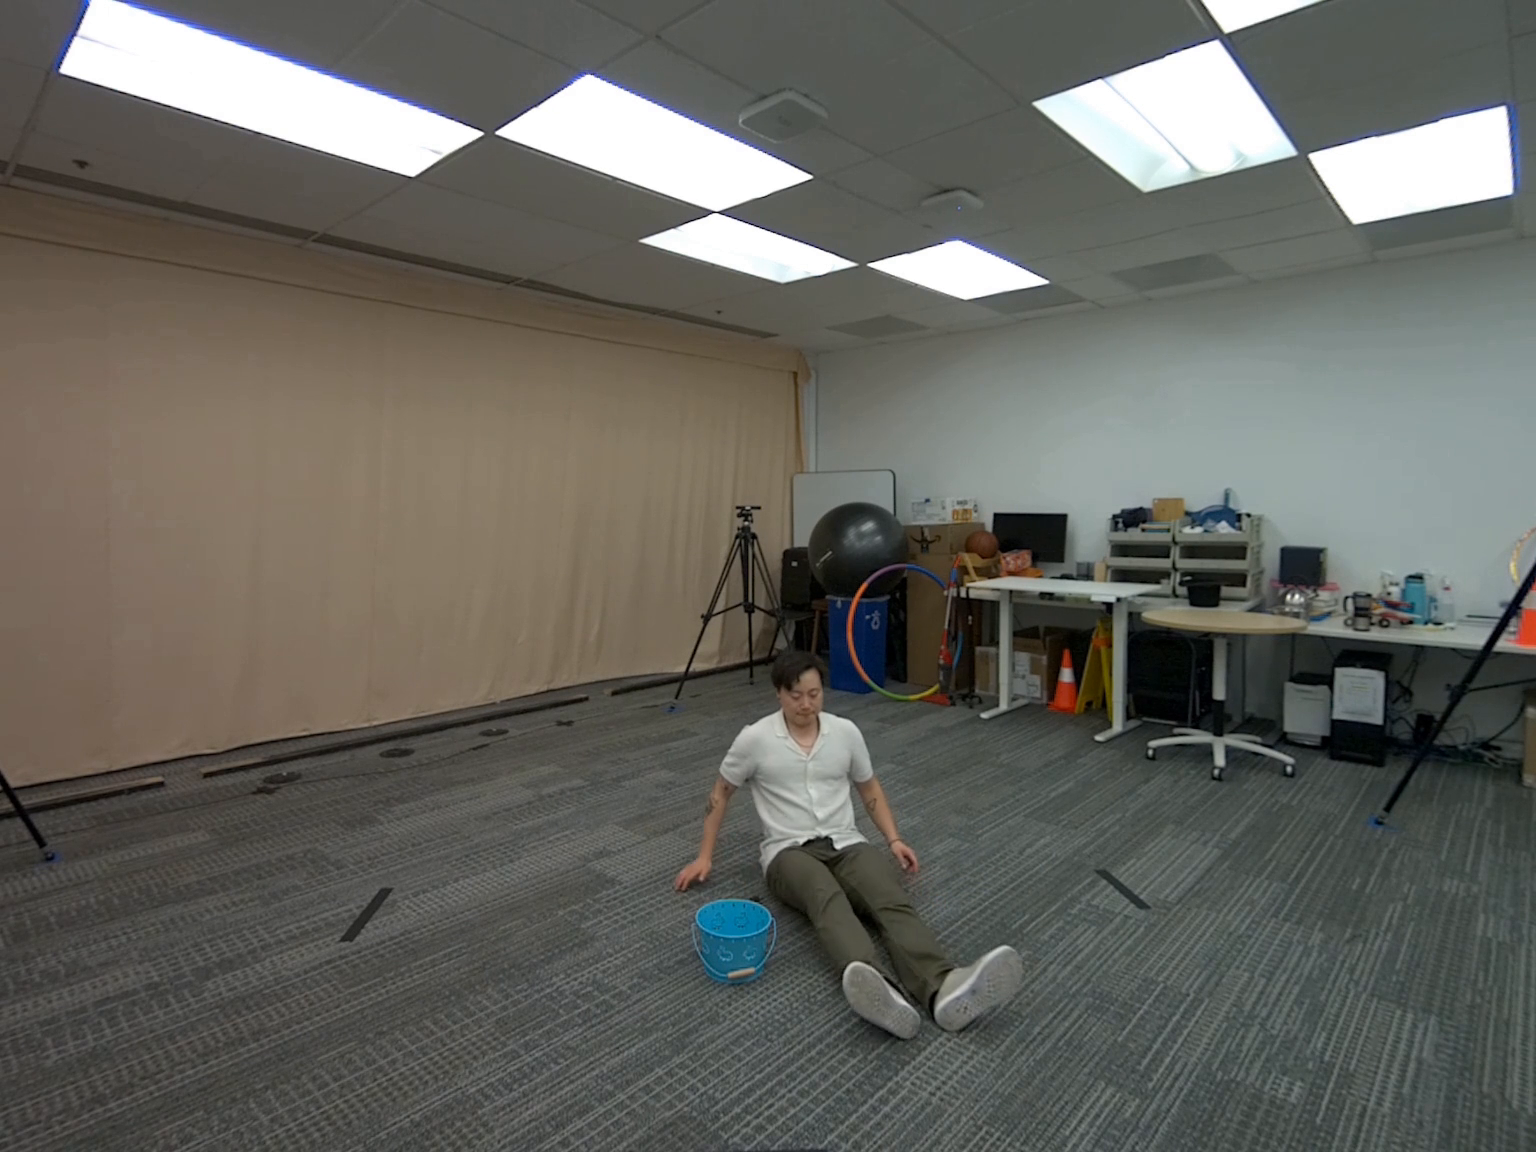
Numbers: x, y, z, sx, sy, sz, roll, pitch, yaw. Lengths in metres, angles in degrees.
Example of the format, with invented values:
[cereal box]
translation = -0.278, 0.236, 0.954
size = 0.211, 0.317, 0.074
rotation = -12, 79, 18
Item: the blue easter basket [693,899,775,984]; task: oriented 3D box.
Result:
[blue easter basket]
translation = -0.108, 1.101, 2.540
size = 0.243, 0.155, 0.244
rotation = -1, 3, -2
